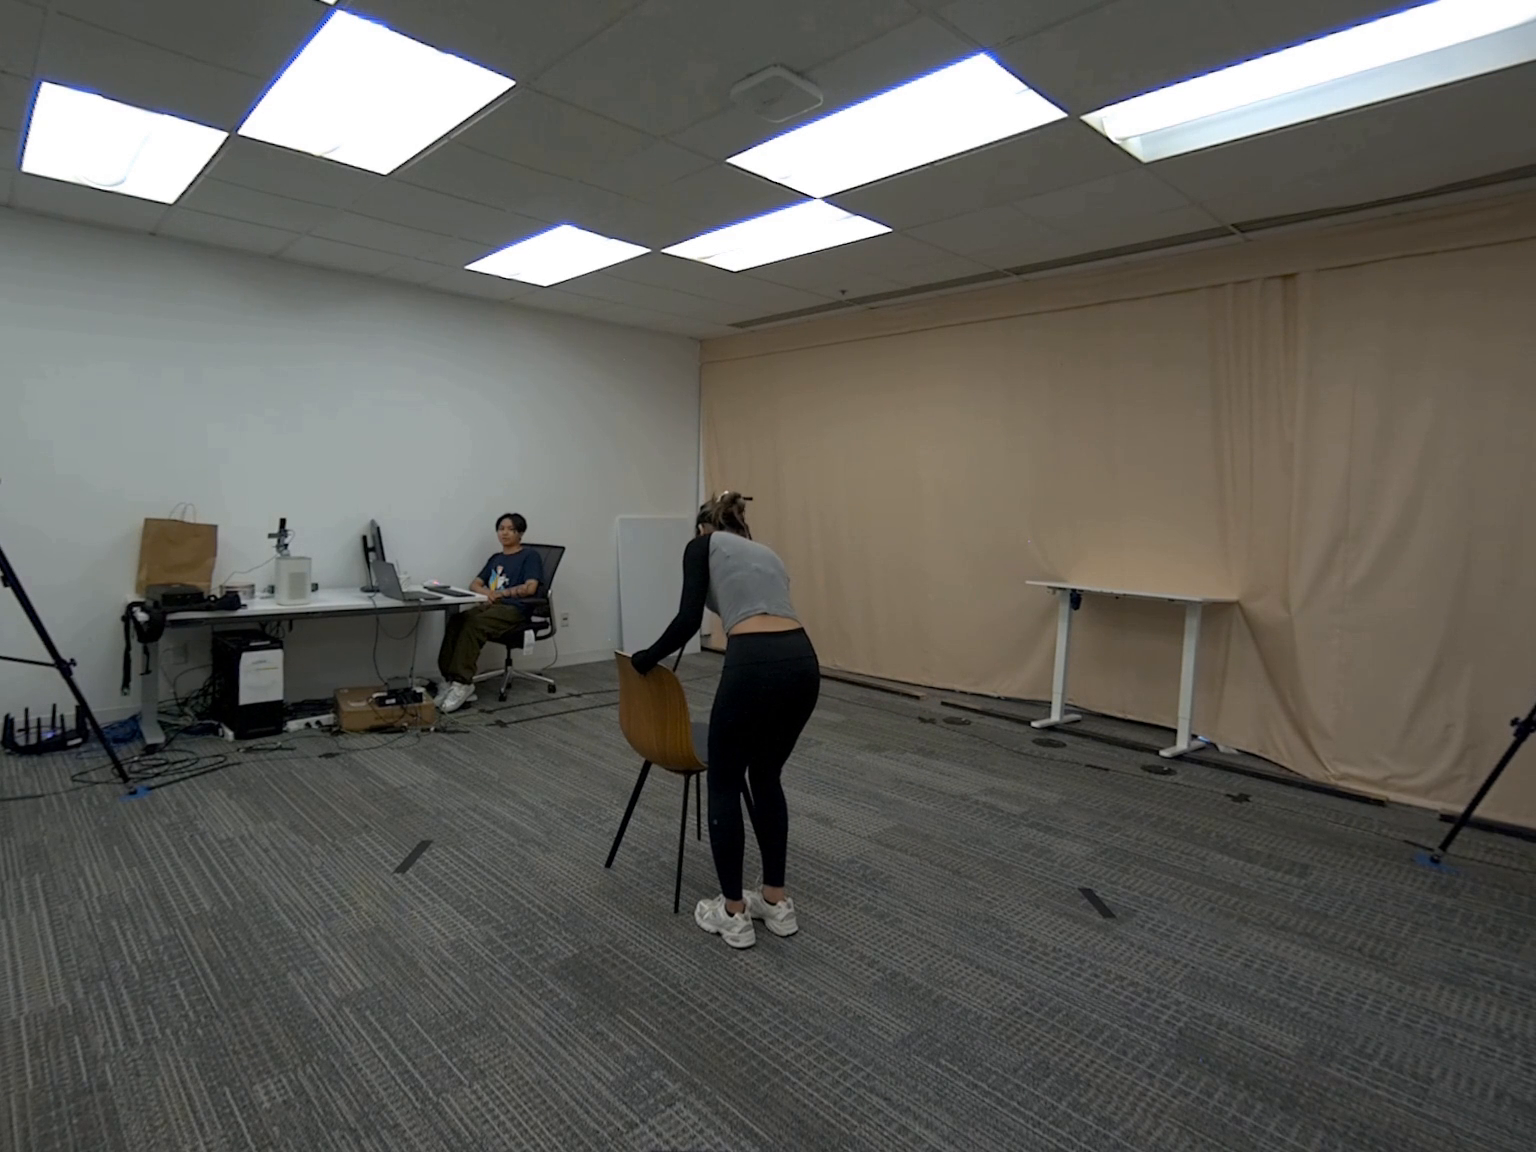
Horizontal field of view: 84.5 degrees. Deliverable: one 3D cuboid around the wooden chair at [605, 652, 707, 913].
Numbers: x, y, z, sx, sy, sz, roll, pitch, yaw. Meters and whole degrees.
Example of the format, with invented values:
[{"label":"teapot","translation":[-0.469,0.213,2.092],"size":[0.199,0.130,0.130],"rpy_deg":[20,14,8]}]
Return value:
[{"label":"wooden chair","translation":[-0.278,0.674,3.105],"size":[0.512,0.873,0.490],"rpy_deg":[-8,9,-42]}]
